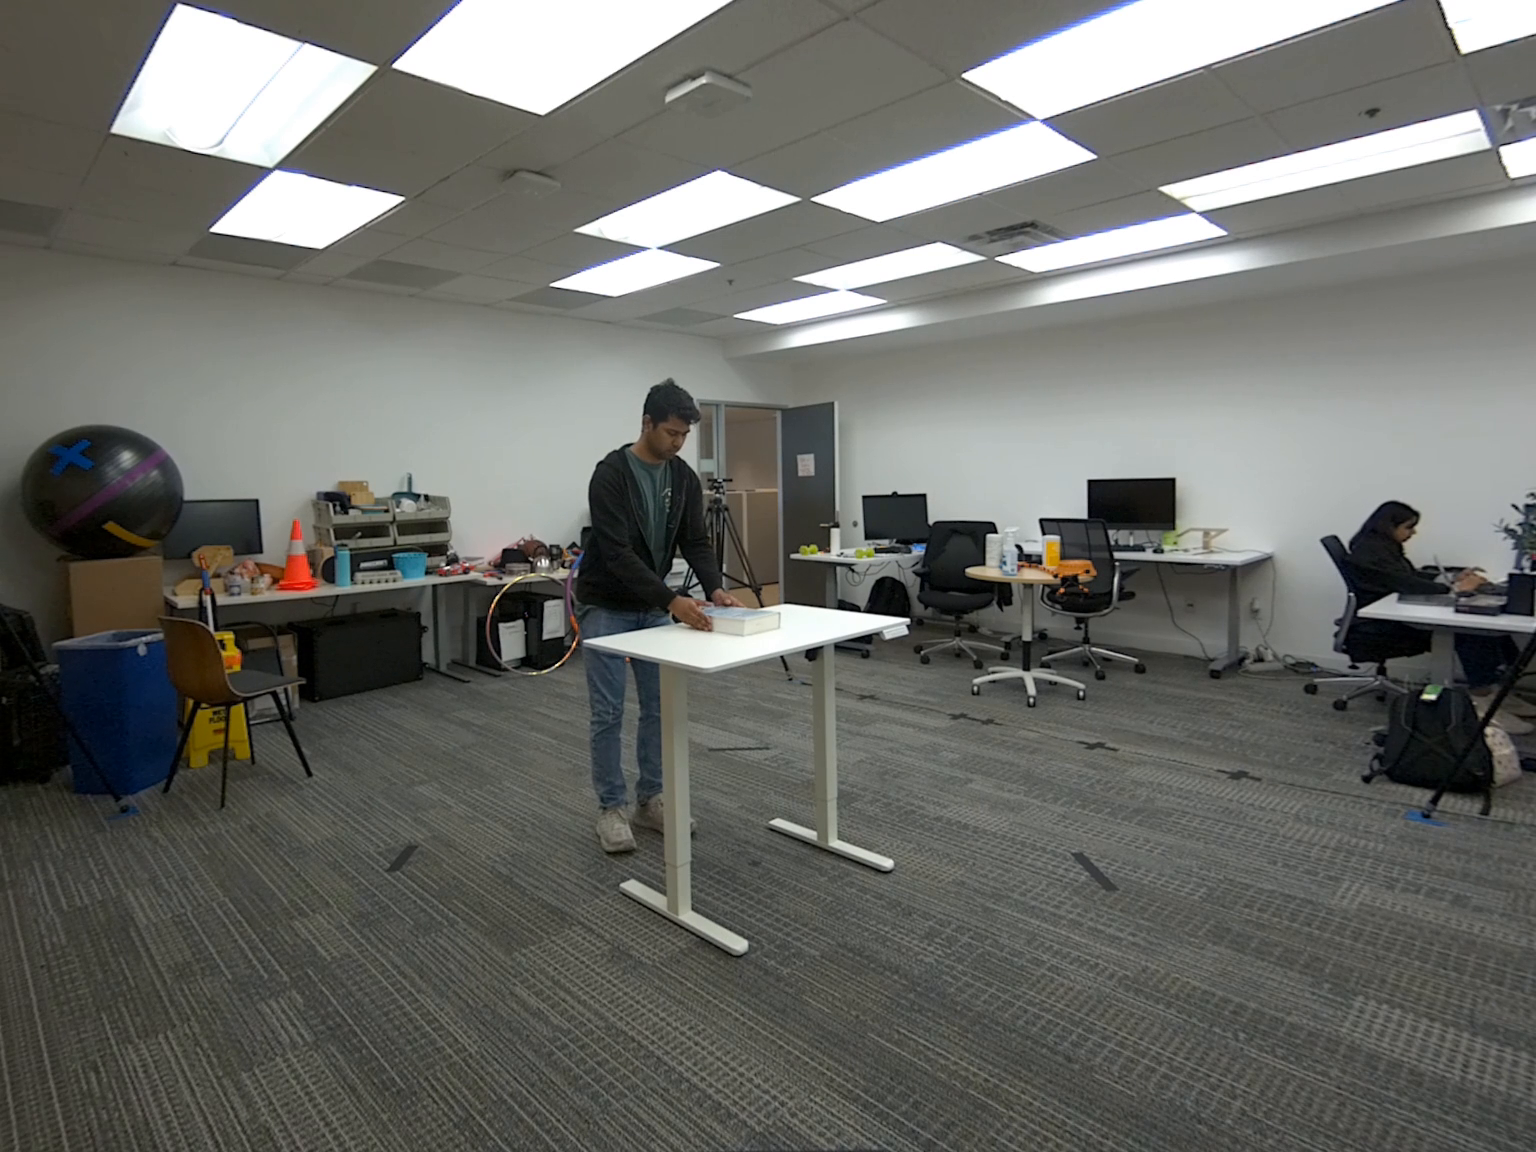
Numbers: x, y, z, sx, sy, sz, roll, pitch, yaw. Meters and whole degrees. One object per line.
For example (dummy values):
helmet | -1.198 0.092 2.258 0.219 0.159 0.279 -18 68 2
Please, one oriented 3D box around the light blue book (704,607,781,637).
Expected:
light blue book | -0.117 0.156 2.942 0.269 0.059 0.186 3 7 39
